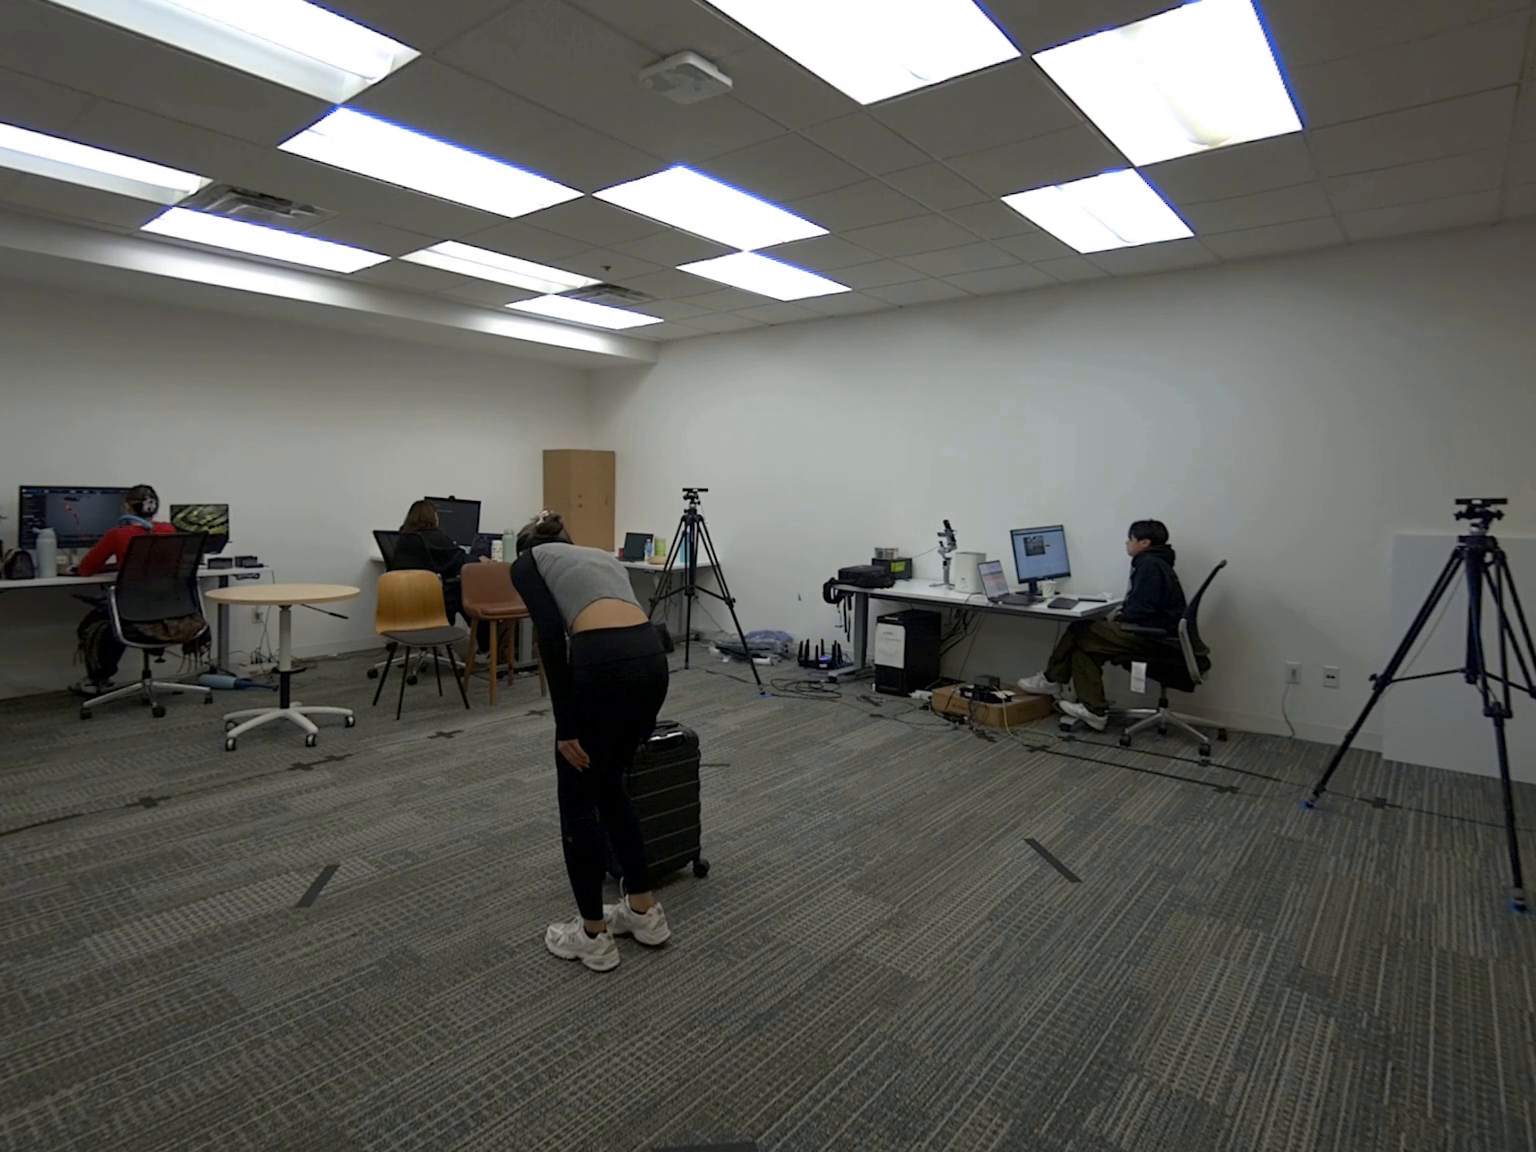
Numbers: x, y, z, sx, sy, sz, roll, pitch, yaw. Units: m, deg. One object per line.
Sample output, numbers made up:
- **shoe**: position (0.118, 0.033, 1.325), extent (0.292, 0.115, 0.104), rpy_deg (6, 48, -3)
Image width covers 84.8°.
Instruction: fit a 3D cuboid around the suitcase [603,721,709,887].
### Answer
- **suitcase**: position (-0.441, 0.799, 3.035), extent (0.364, 0.549, 0.256), rpy_deg (-4, 2, -43)
